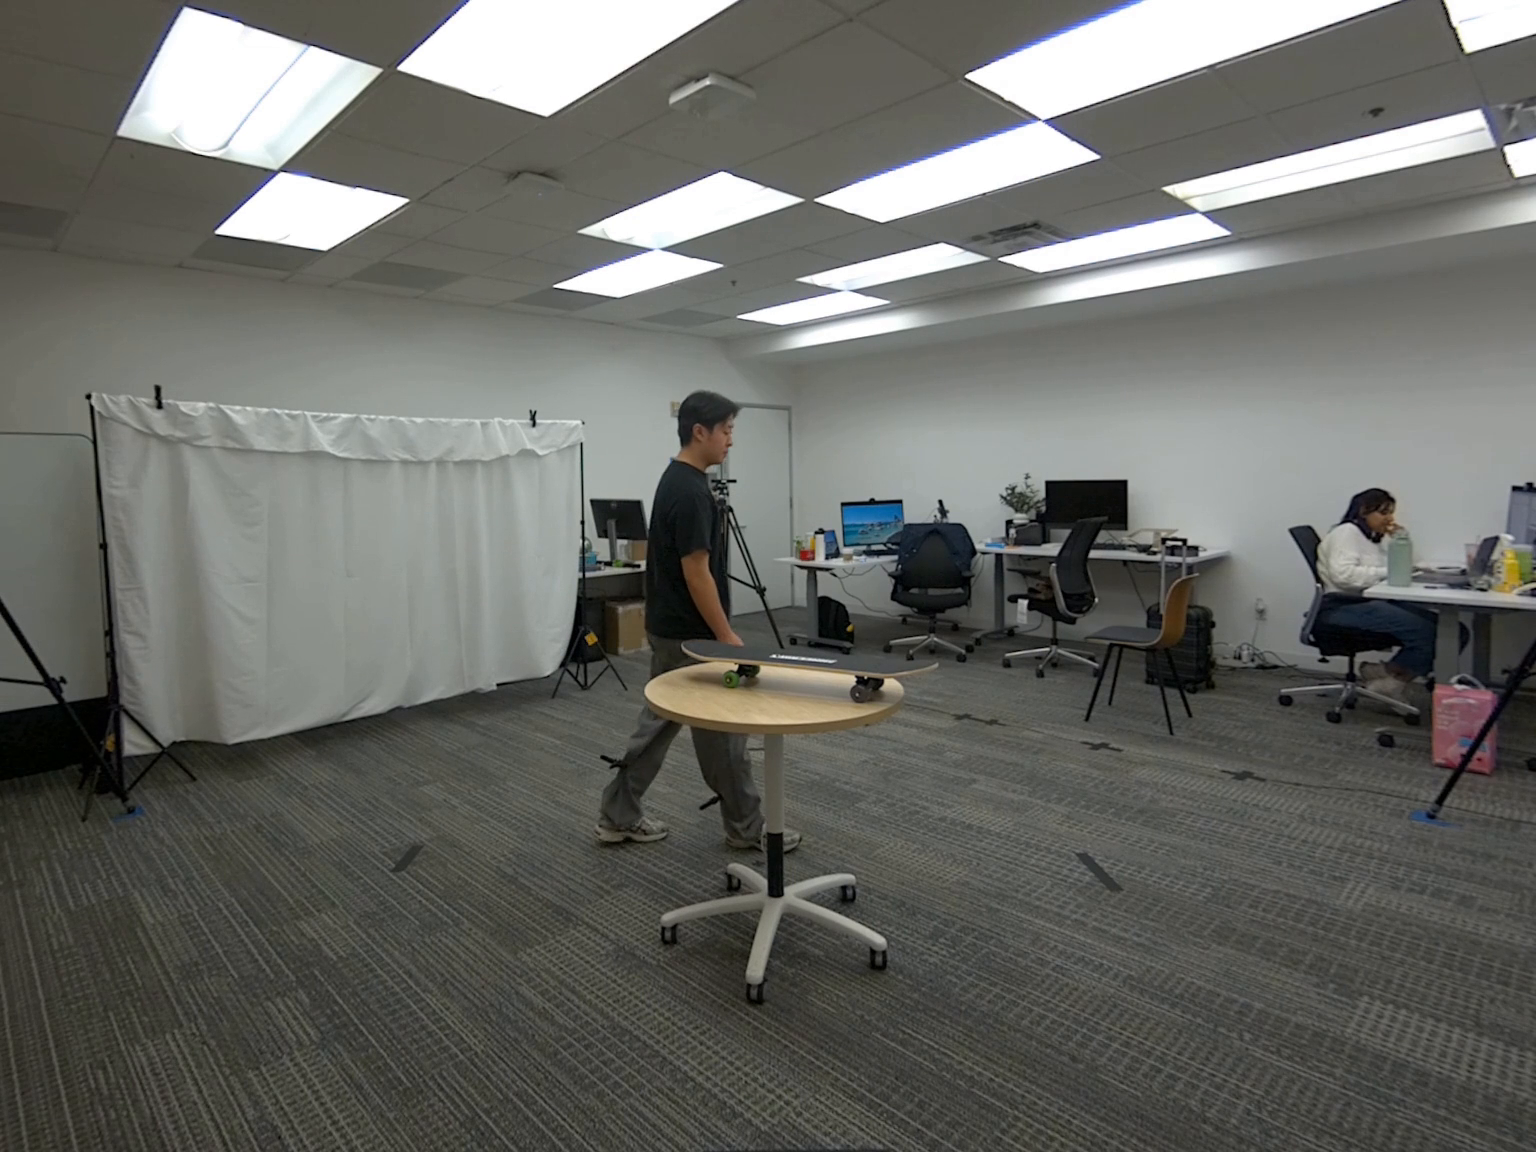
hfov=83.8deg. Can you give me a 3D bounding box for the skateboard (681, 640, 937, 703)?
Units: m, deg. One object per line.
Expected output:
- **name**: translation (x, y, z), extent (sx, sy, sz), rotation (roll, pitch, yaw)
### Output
- **skateboard**: translation (0.109, 0.284, 2.512), extent (0.804, 0.110, 0.190), rotation (2, 8, 27)
